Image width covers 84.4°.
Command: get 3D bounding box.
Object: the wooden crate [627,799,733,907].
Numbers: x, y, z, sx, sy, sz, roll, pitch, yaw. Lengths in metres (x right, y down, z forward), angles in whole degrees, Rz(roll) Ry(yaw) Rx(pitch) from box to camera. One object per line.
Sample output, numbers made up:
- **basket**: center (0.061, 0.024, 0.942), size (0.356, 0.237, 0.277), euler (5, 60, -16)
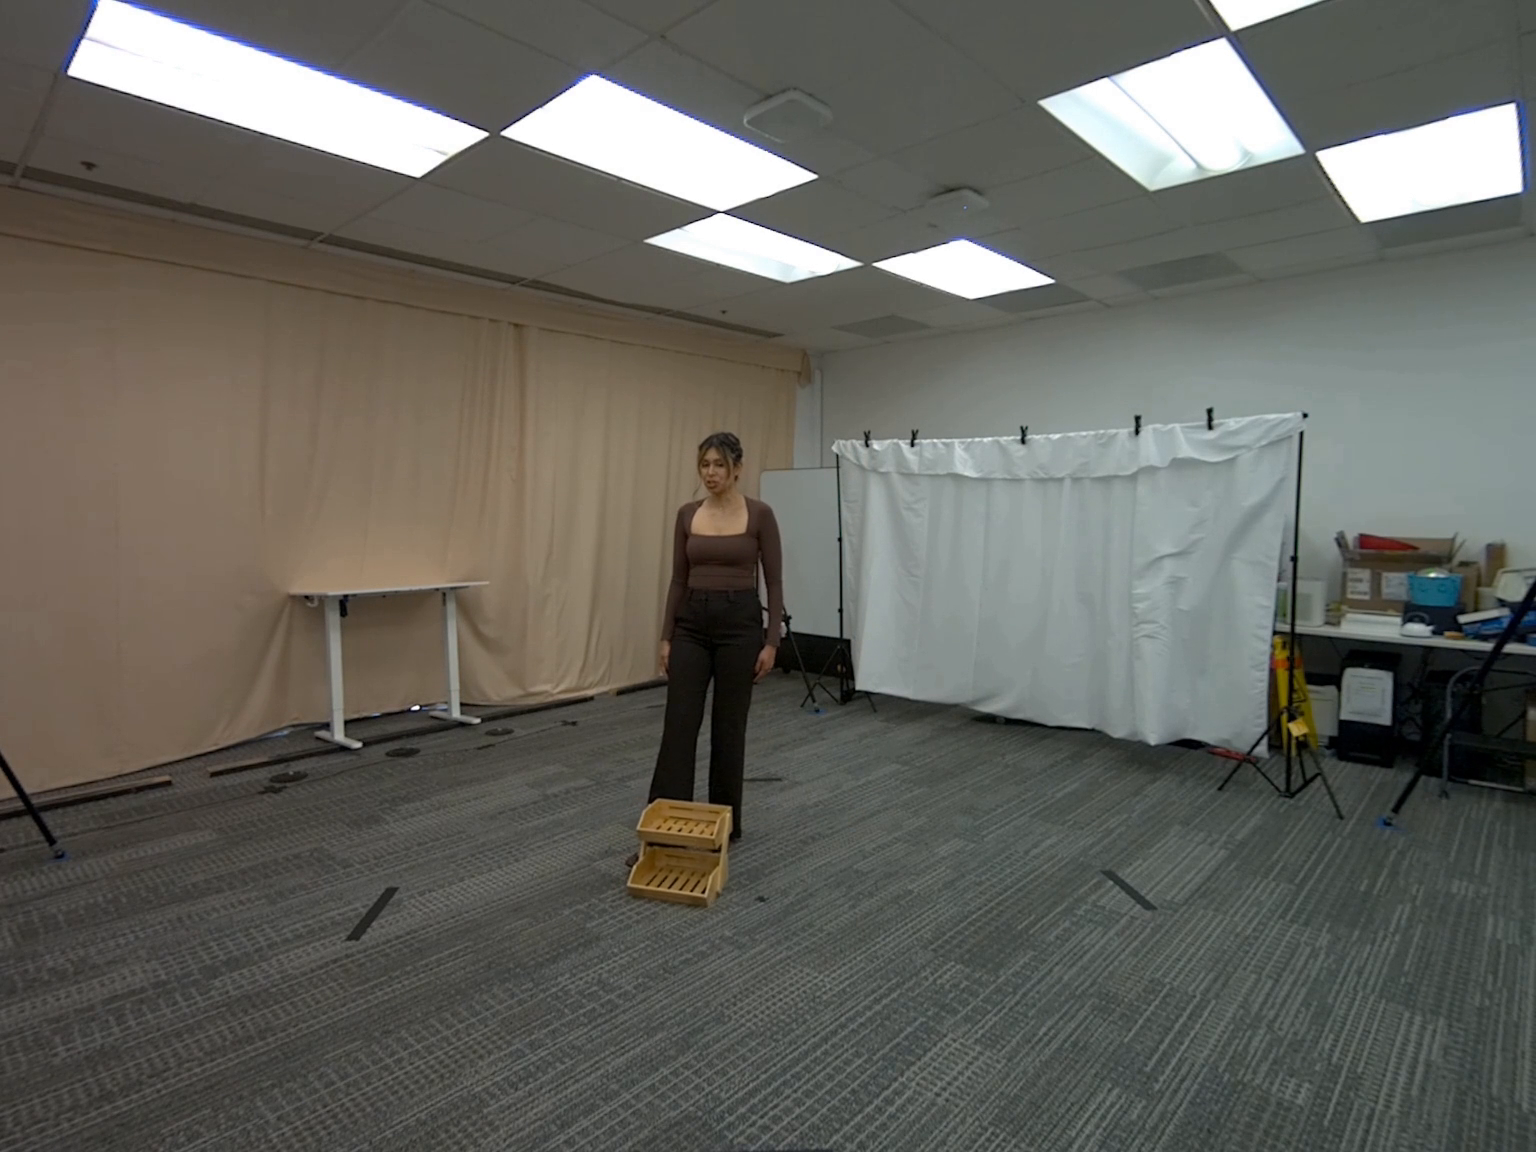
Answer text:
- **wooden crate**: center (-0.318, 0.998, 3.083), size (0.330, 0.273, 0.297), euler (1, 3, 17)
